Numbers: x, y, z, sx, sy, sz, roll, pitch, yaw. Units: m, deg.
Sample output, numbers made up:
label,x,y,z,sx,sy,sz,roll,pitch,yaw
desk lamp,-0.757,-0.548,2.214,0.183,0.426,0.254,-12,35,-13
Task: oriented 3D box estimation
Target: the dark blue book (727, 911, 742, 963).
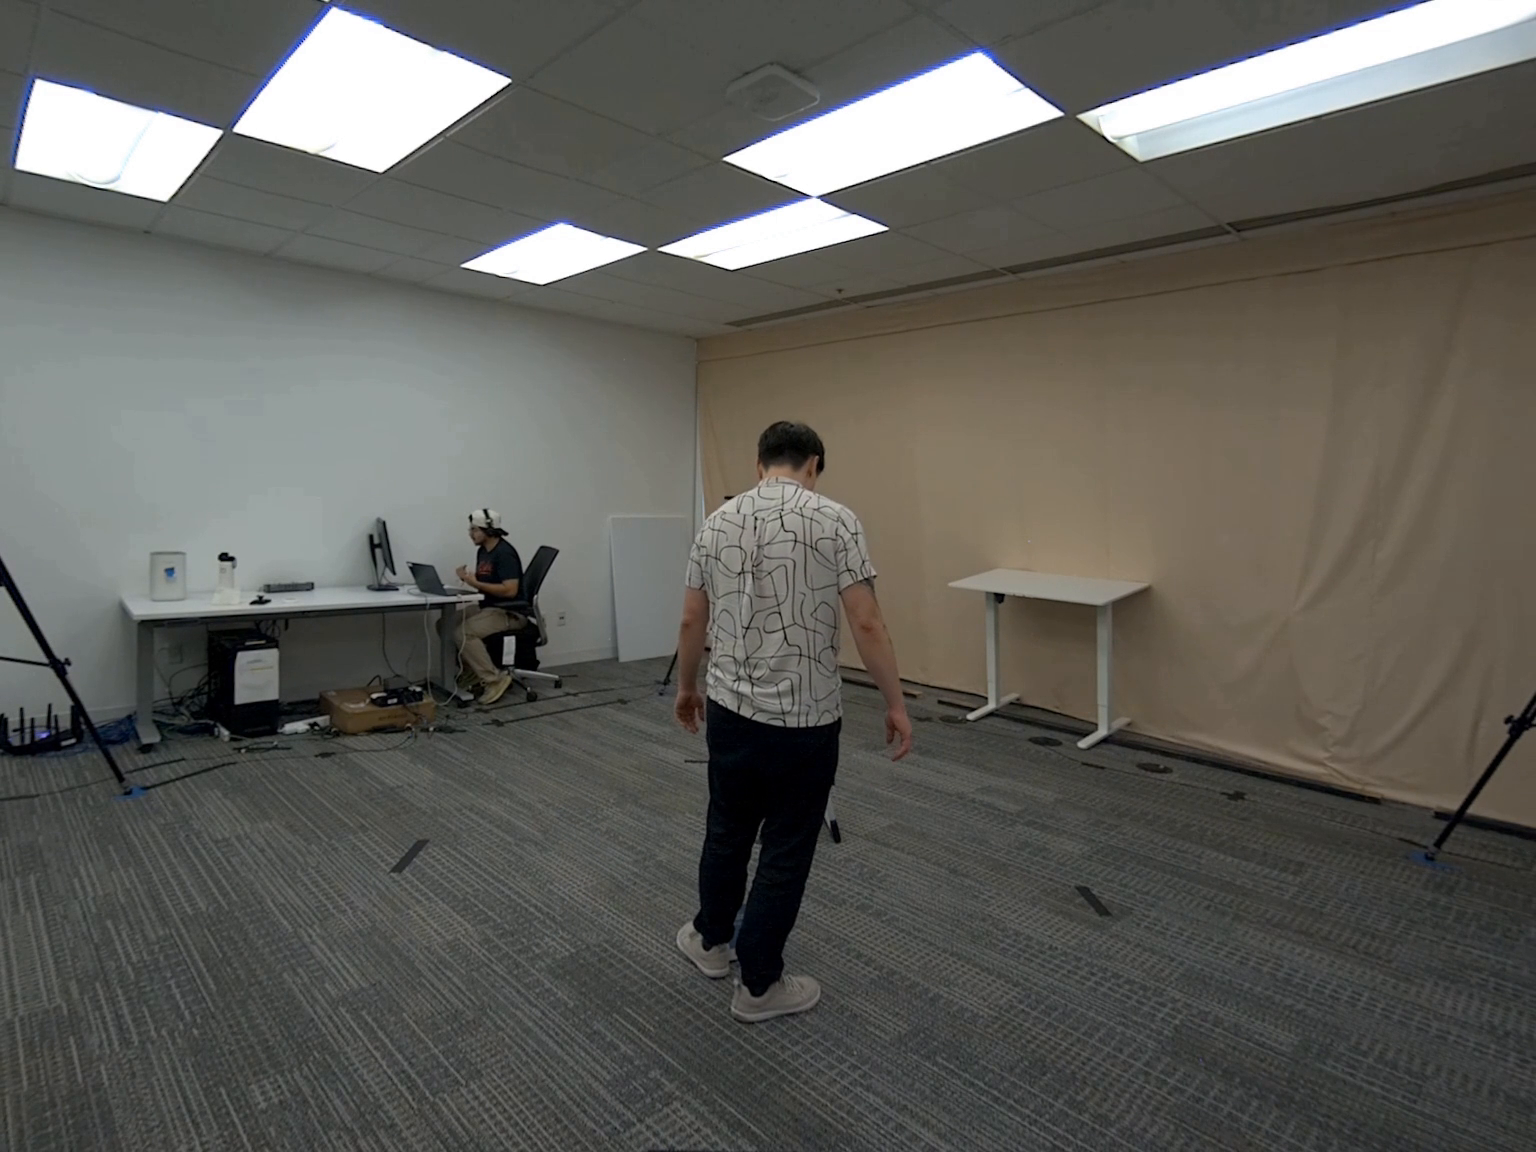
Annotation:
label,x,y,z,sx,sy,sz,roll,pitch,yaw
dark blue book,-0.100,1.126,2.651,0.161,0.045,0.250,0,5,-23
